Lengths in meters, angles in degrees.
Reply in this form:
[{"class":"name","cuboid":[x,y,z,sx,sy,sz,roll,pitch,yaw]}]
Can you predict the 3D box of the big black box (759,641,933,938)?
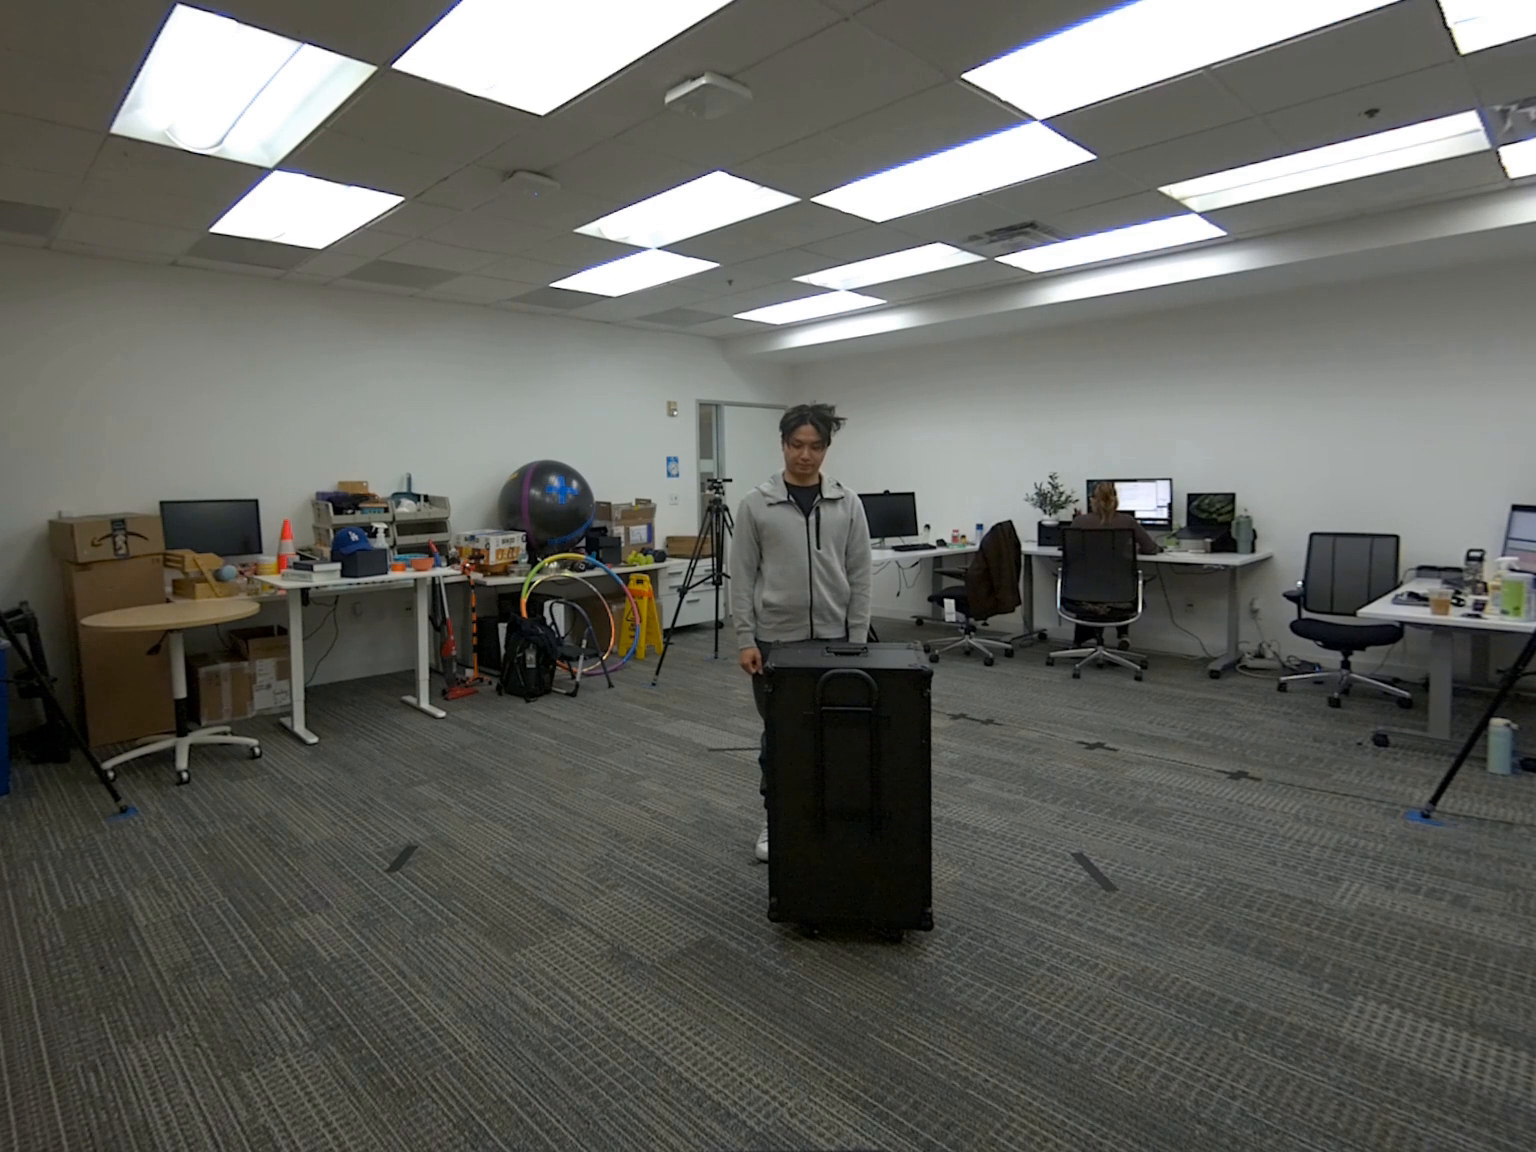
[{"class":"big black box","cuboid":[0.256,0.669,2.661,0.526,0.857,0.395,-1,5,8]}]
